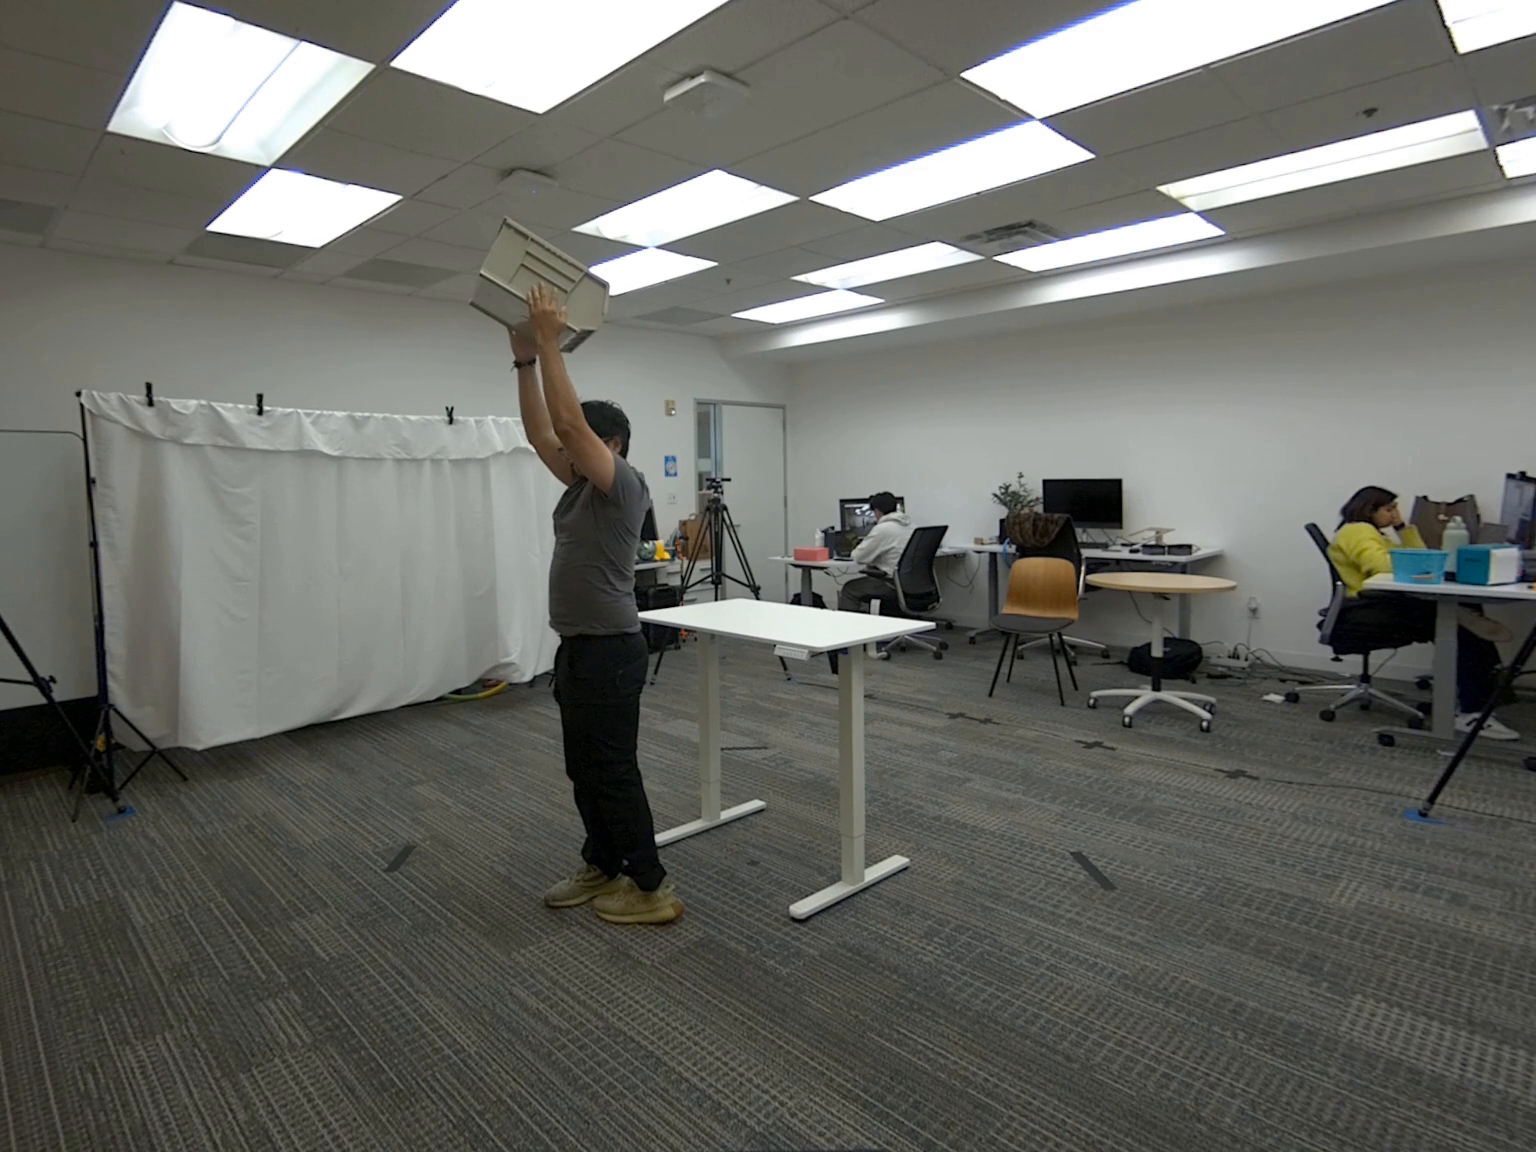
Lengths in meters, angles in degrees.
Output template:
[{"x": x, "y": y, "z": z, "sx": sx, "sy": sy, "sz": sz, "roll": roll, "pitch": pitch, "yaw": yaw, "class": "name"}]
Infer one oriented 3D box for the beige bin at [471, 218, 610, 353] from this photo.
[{"x": -0.715, "y": -0.870, "z": 2.656, "sx": 0.368, "sy": 0.189, "sz": 0.432, "roll": 28, "pitch": -7, "yaw": -22, "class": "beige bin"}]
